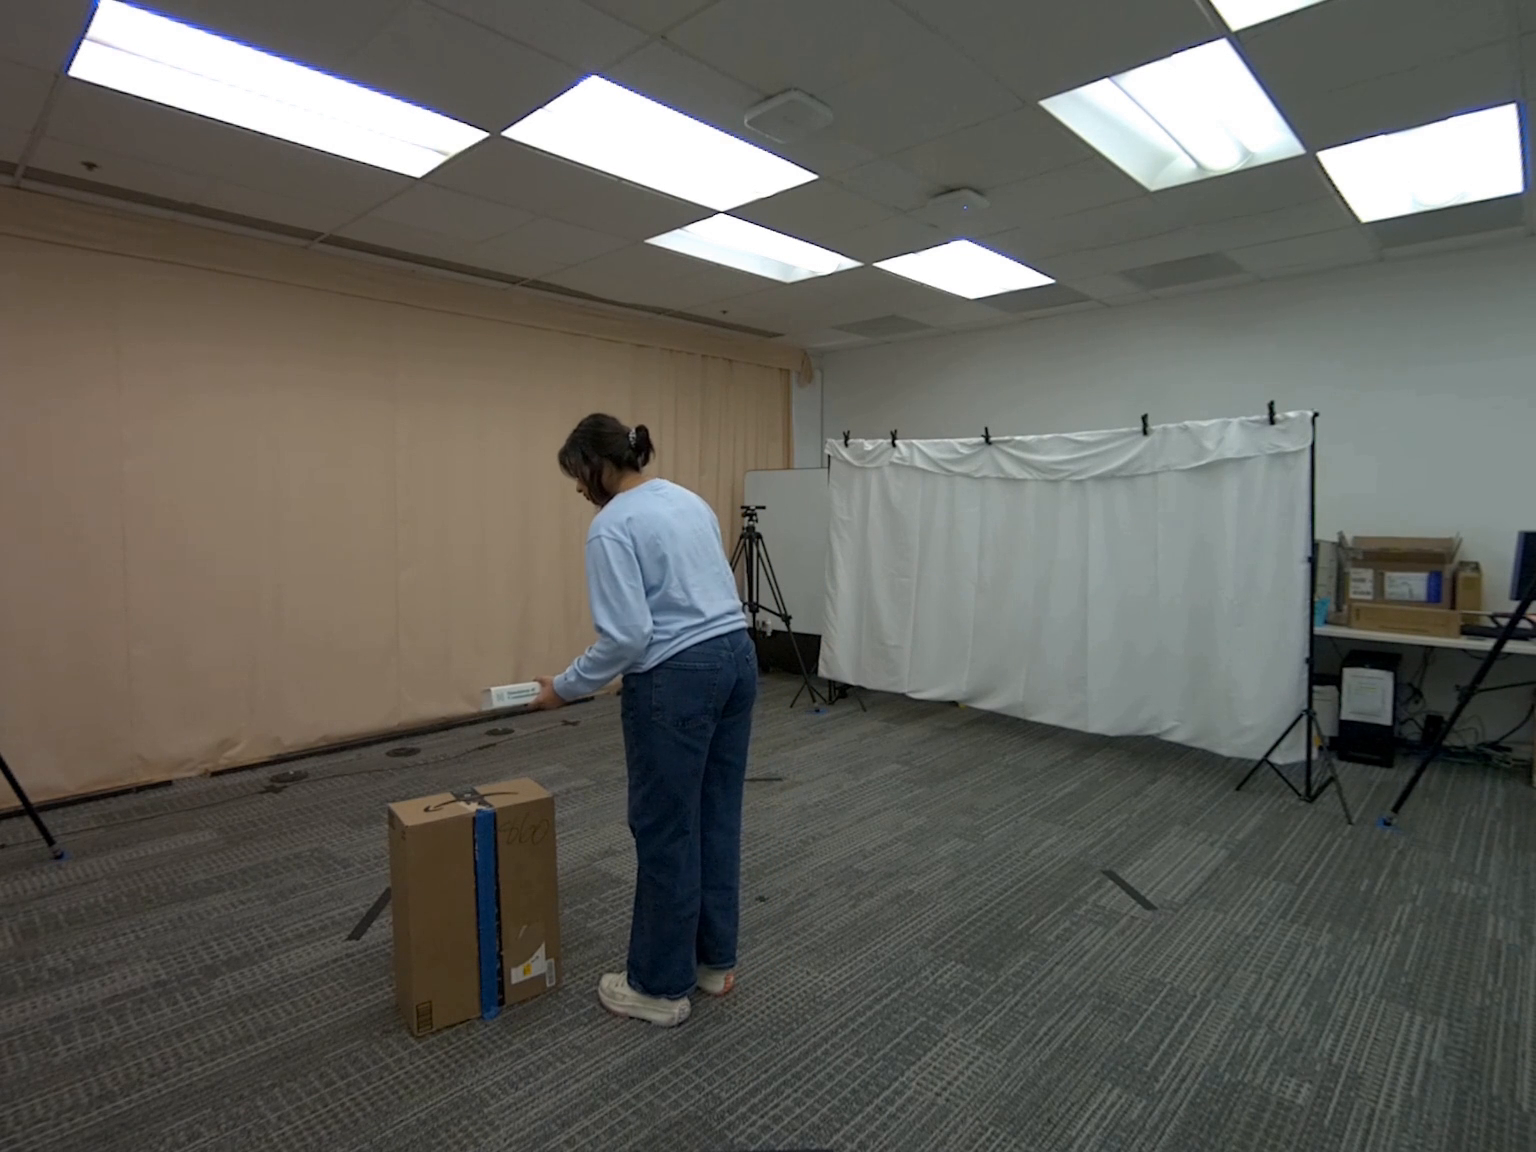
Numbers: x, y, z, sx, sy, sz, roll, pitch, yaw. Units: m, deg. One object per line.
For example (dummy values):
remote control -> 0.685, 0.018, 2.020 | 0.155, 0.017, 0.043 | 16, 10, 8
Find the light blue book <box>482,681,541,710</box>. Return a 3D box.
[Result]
light blue book -> -0.664, 0.329, 2.369 | 0.254, 0.059, 0.195 | -4, -5, -28
